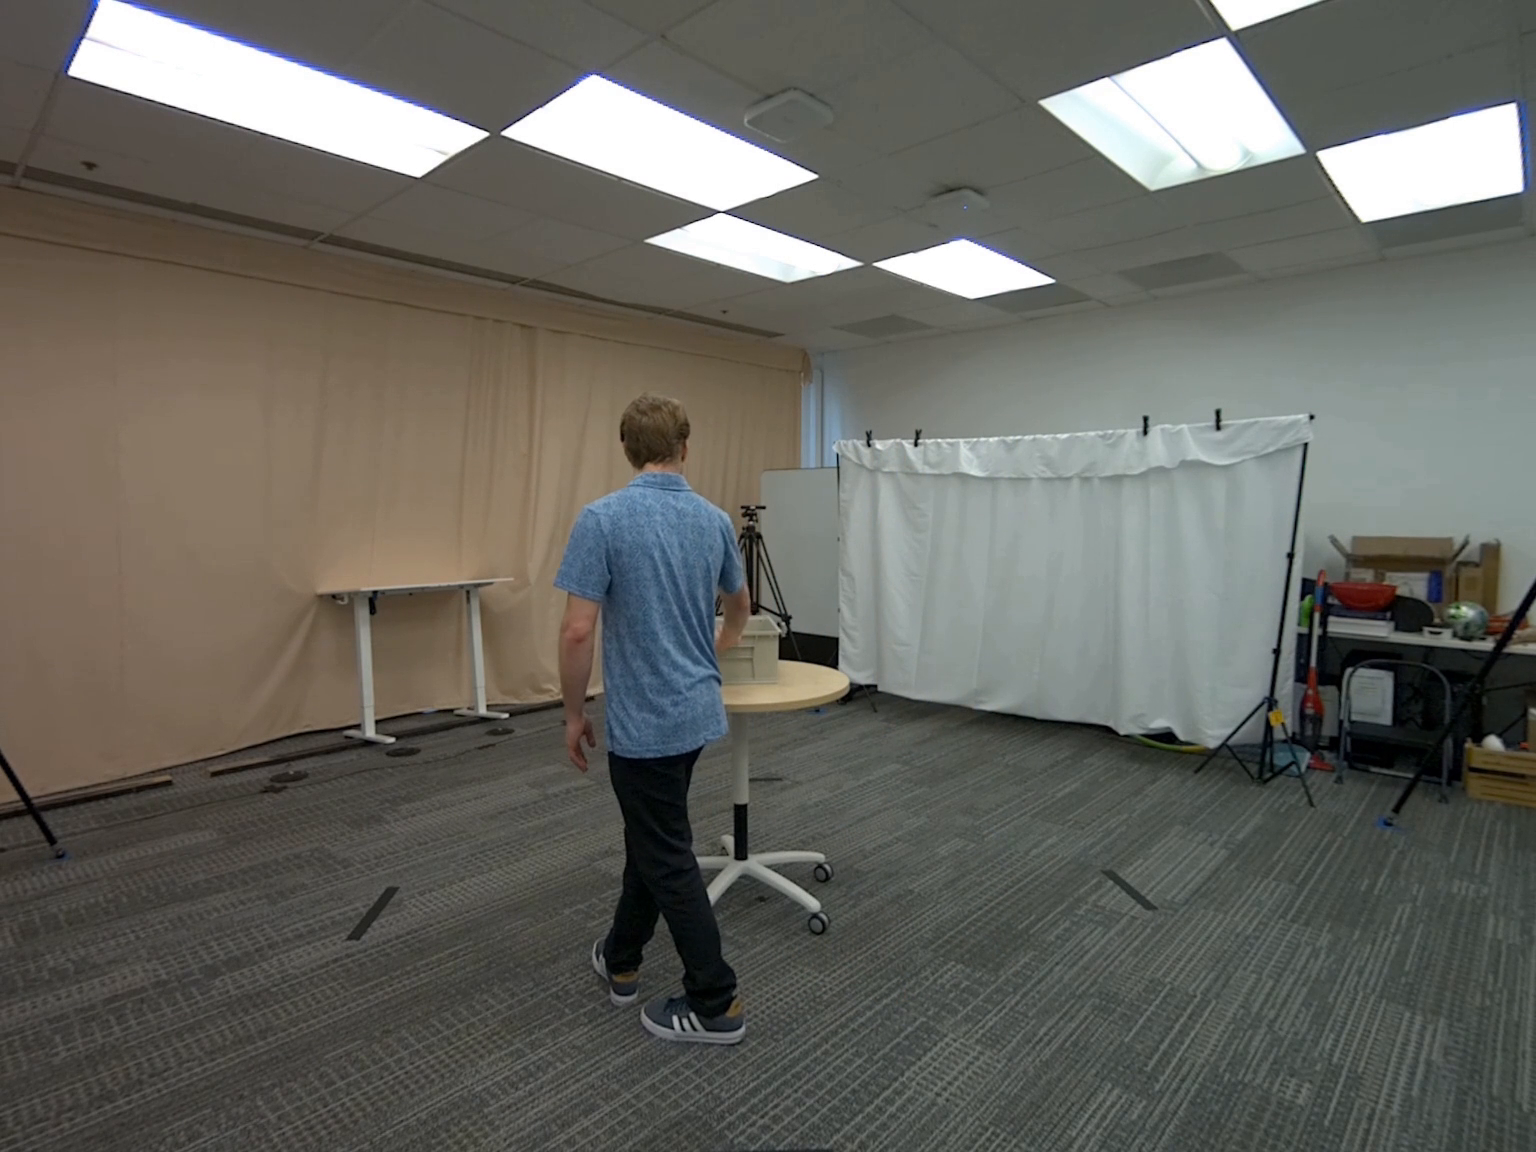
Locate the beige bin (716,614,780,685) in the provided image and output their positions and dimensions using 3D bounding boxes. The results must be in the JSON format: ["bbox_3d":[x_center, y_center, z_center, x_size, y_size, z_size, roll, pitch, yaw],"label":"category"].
[{"bbox_3d":[-0.162,0.265,3.063,0.376,0.188,0.425,-1,5,-5],"label":"beige bin"}]
